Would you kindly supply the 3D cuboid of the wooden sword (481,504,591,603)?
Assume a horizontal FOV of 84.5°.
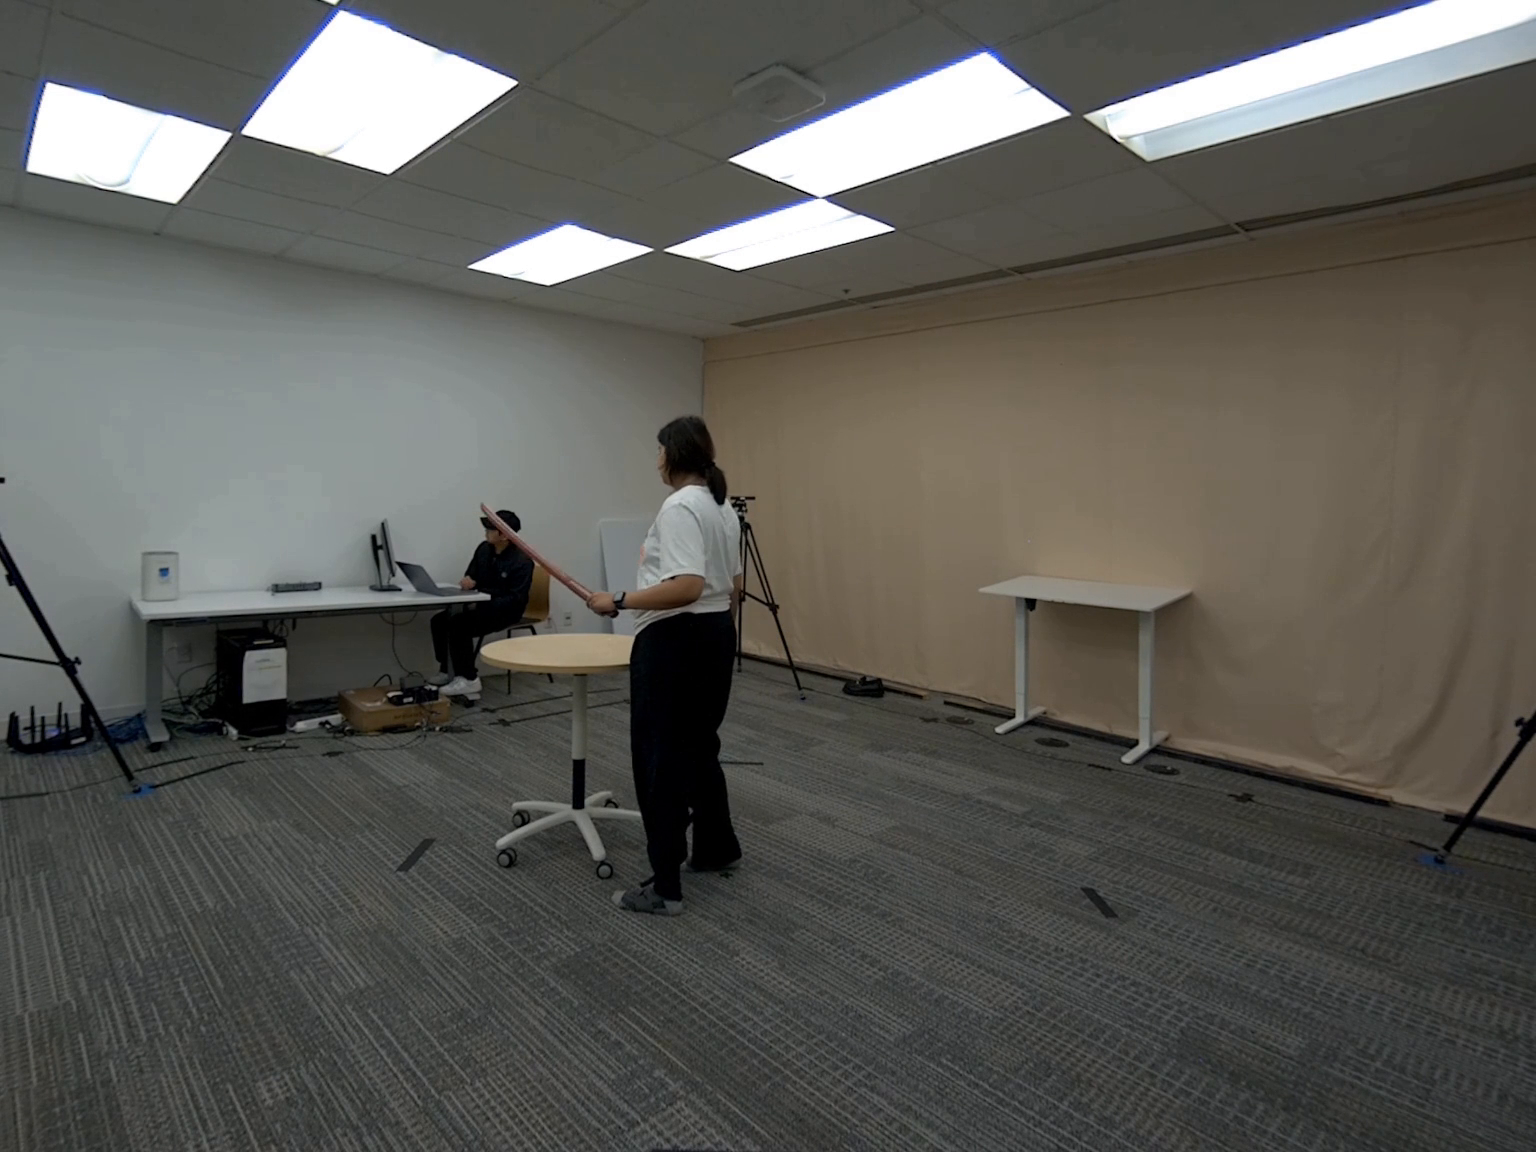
[{"bbox_3d":[-0.817,-0.051,3.070,0.050,0.024,1.058,9,16,-41],"label":"wooden sword"}]
